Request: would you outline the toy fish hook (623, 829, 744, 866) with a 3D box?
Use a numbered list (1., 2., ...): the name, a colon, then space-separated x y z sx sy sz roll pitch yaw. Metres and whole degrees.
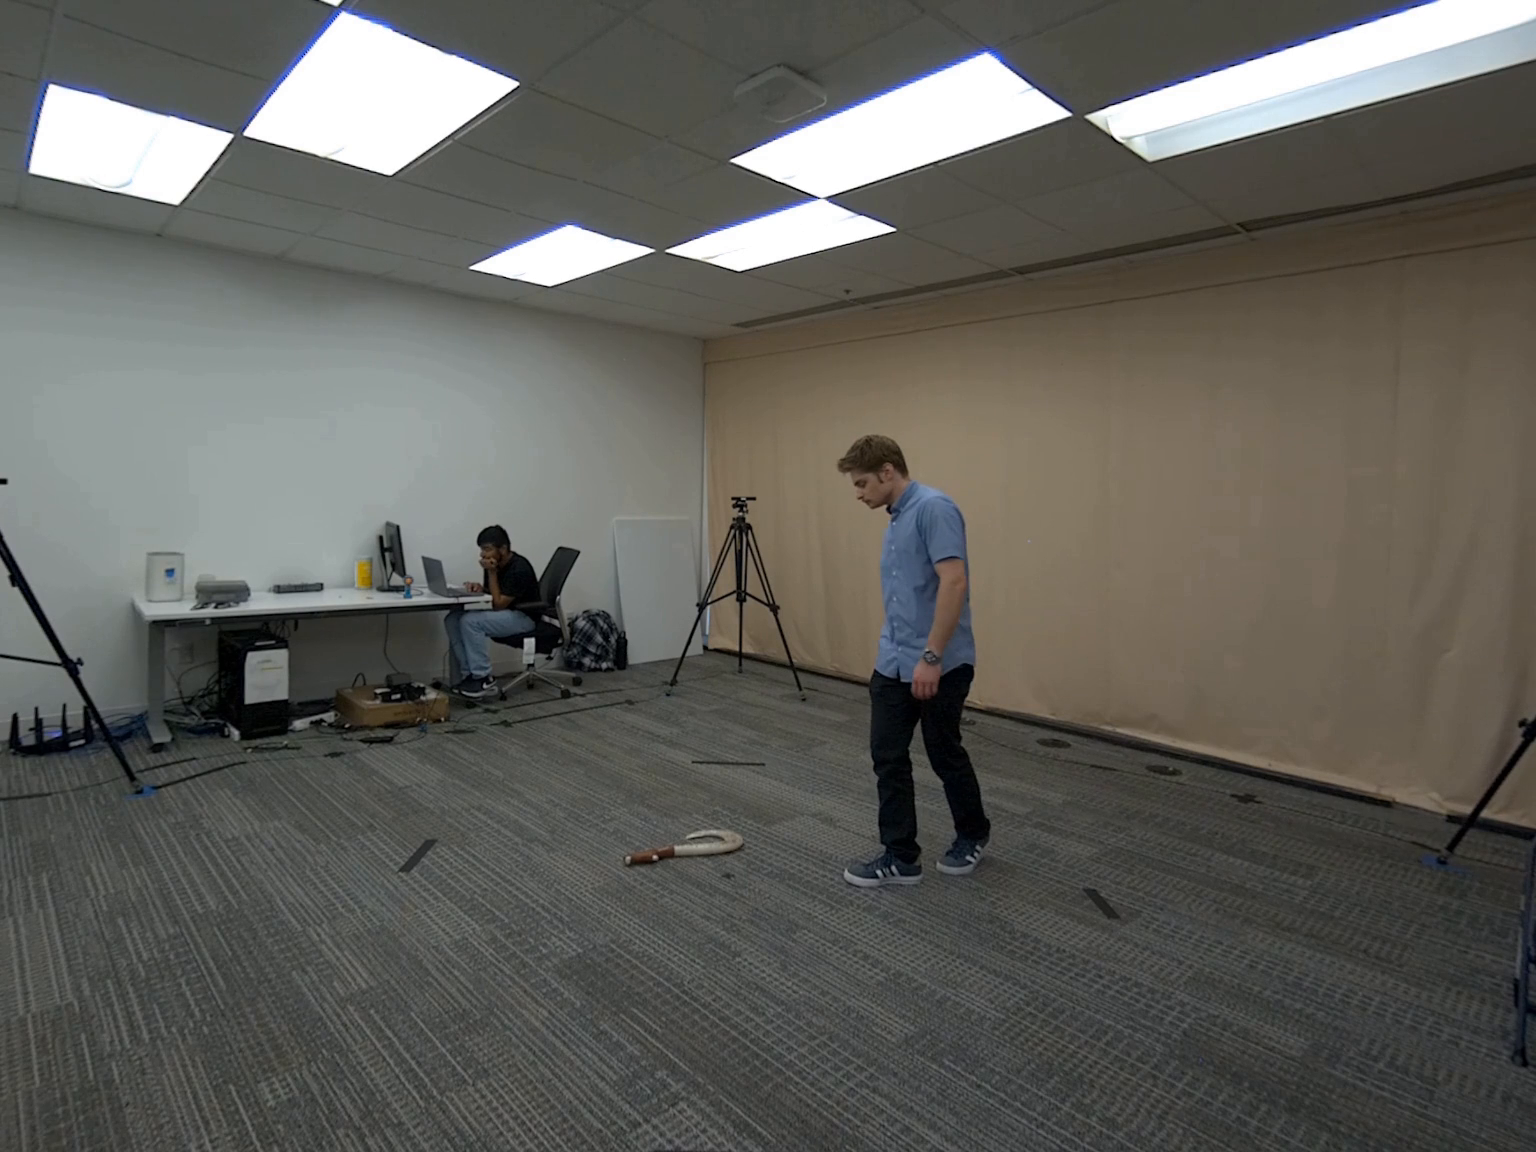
1. toy fish hook: -0.349 1.066 3.321 0.497 0.048 0.228 0 -3 -27
